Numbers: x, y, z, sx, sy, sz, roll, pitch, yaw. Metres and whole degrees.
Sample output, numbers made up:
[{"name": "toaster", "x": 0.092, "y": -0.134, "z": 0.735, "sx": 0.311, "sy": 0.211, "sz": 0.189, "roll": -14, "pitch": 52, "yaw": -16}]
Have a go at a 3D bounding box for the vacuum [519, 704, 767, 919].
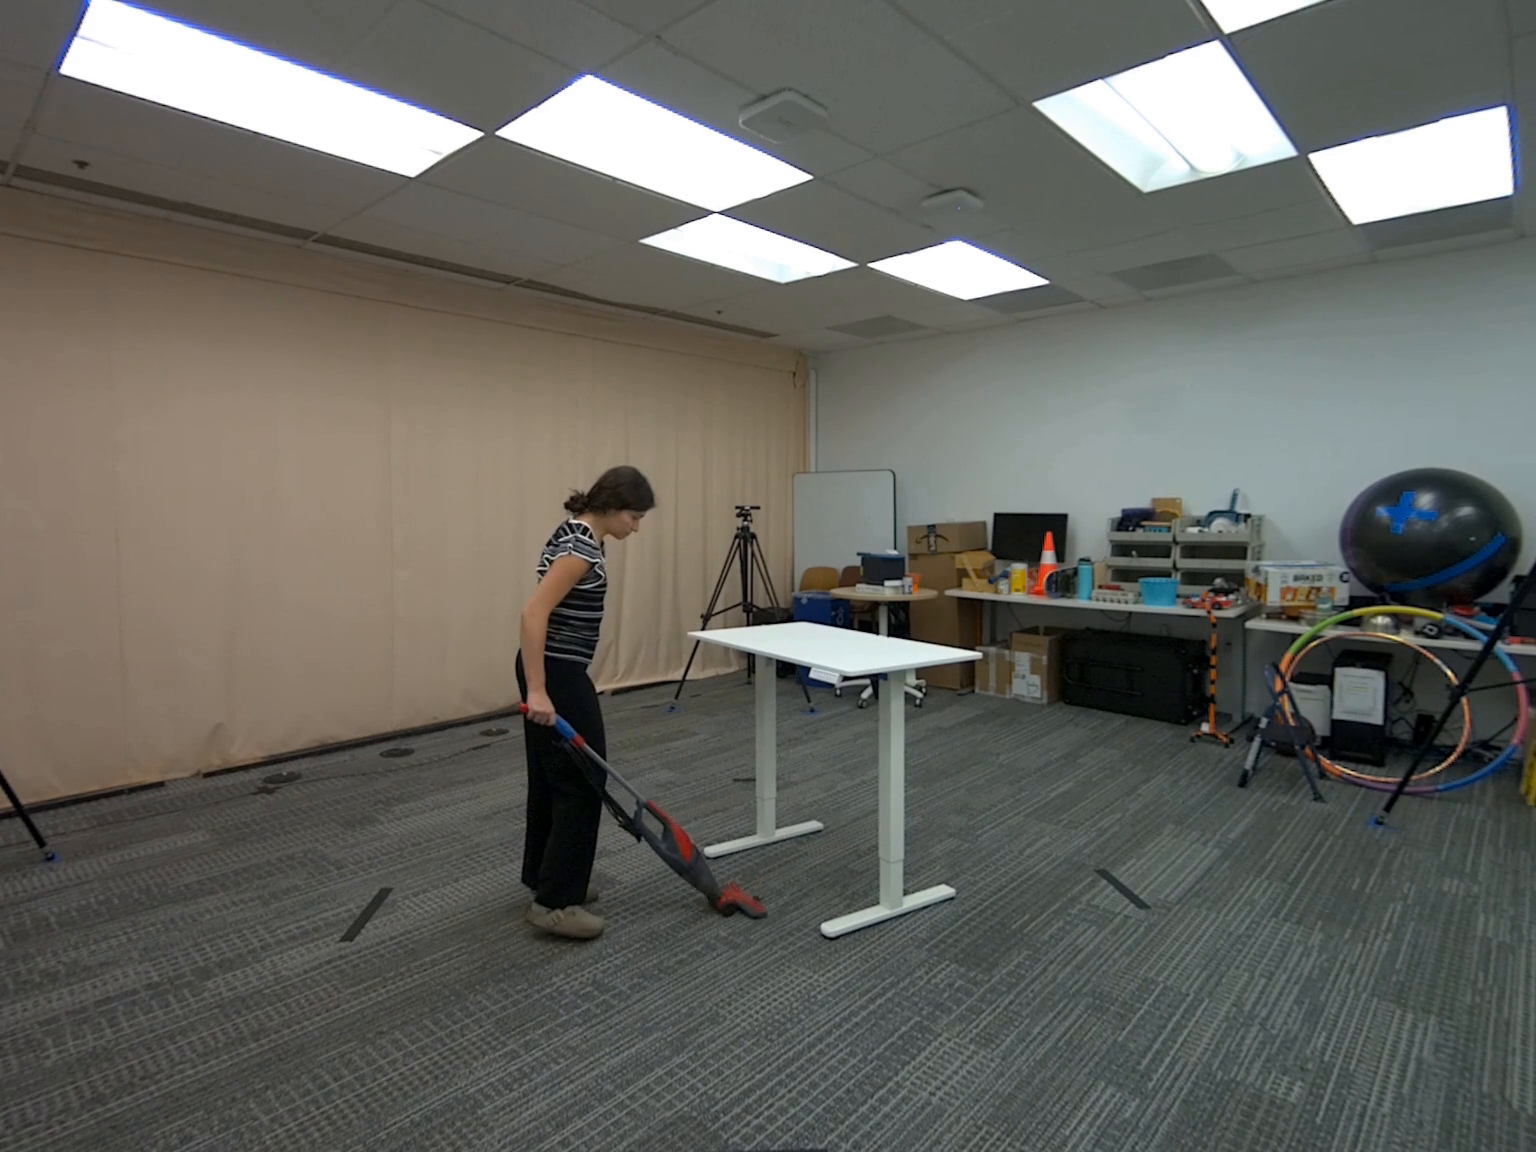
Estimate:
[{"name": "vacuum", "x": -0.432, "y": 0.793, "z": 2.769, "sx": 1.026, "sy": 0.143, "sz": 0.259, "roll": 46, "pitch": -22, "yaw": -19}]
